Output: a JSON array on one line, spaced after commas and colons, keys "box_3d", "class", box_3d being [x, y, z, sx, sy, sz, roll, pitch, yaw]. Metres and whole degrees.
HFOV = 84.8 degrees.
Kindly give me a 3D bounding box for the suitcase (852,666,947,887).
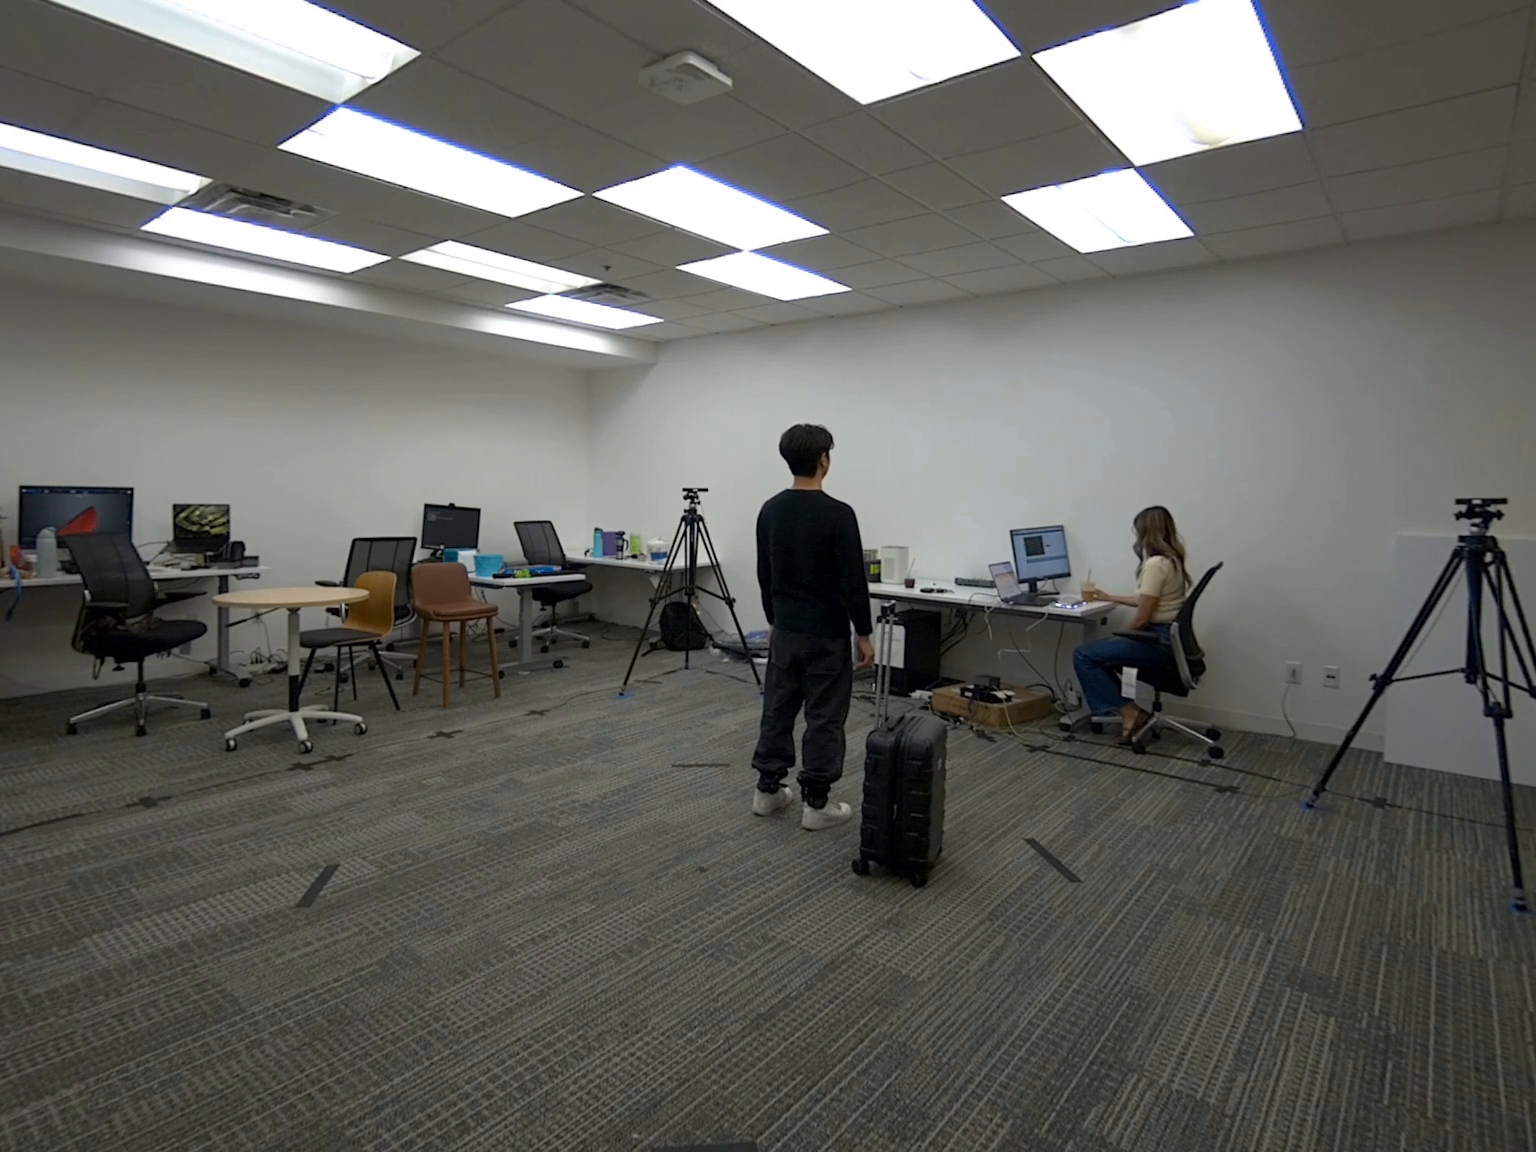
[{"box_3d": [0.519, 0.604, 3.150, 0.264, 0.974, 0.376, 5, 5, 23], "class": "suitcase"}]
